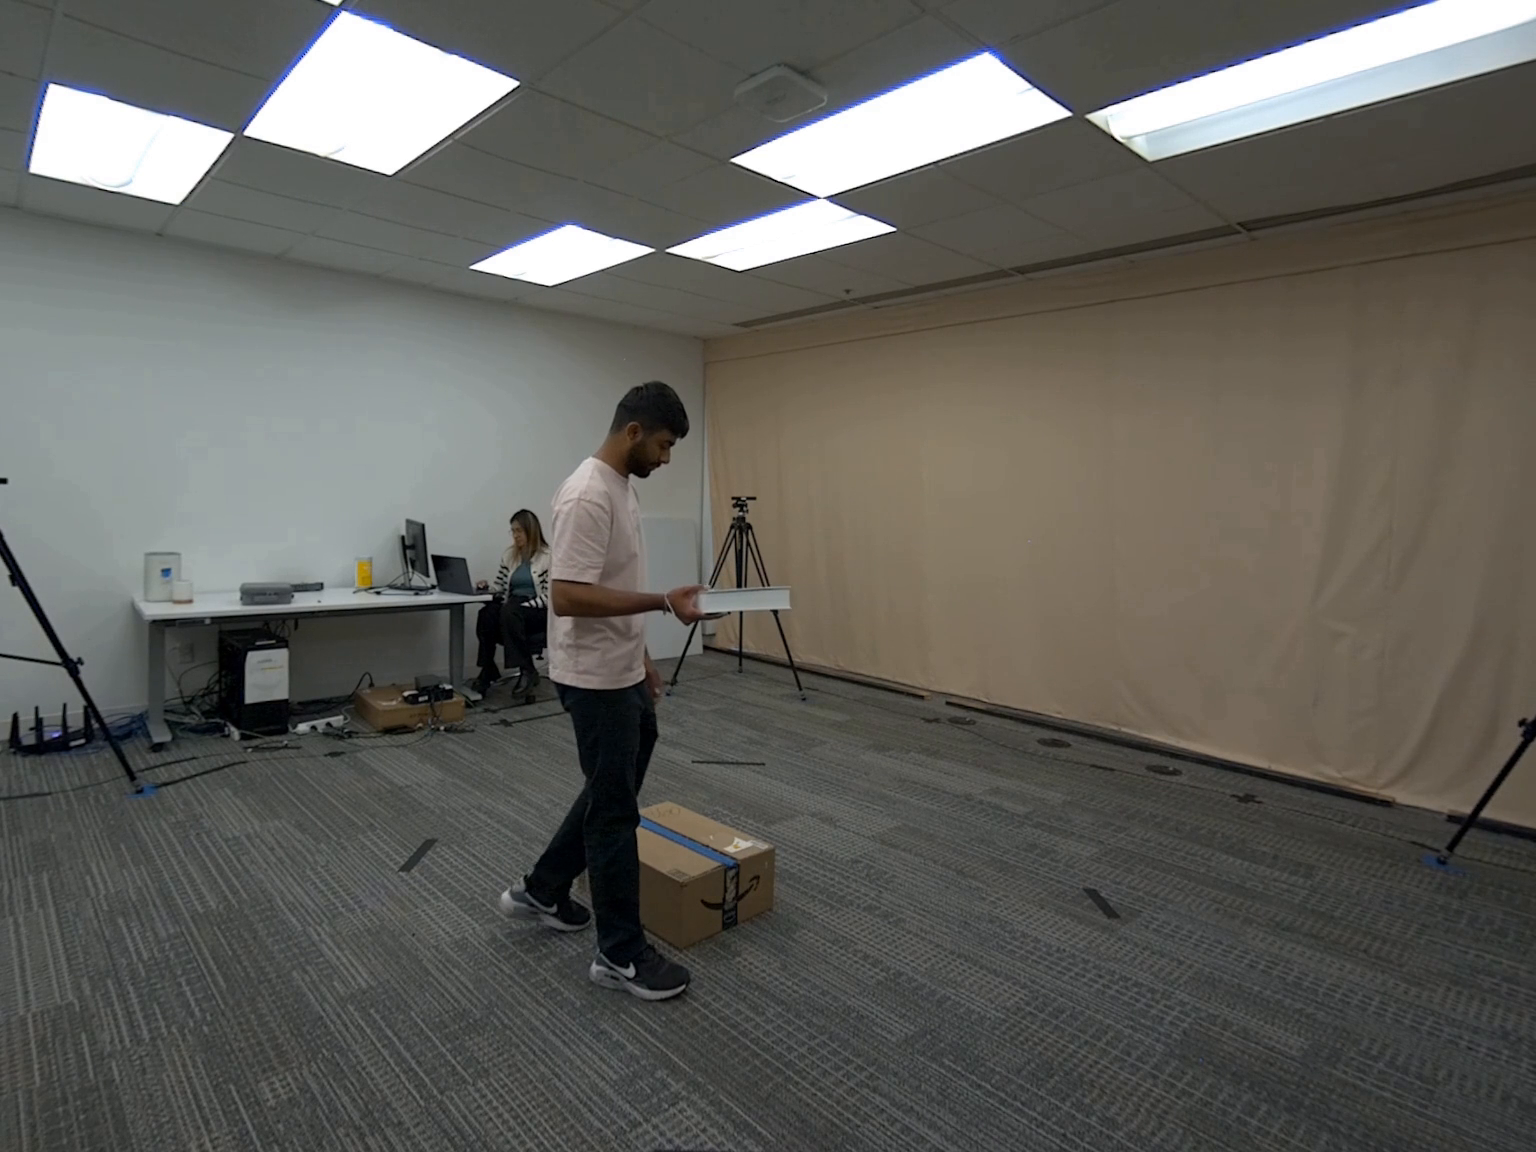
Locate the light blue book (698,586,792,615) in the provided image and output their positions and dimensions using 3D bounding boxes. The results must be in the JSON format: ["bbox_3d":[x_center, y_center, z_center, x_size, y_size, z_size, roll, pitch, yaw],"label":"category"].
[{"bbox_3d":[-0.082,0.062,2.299,0.188,0.059,0.266,-2,2,-25],"label":"light blue book"}]
